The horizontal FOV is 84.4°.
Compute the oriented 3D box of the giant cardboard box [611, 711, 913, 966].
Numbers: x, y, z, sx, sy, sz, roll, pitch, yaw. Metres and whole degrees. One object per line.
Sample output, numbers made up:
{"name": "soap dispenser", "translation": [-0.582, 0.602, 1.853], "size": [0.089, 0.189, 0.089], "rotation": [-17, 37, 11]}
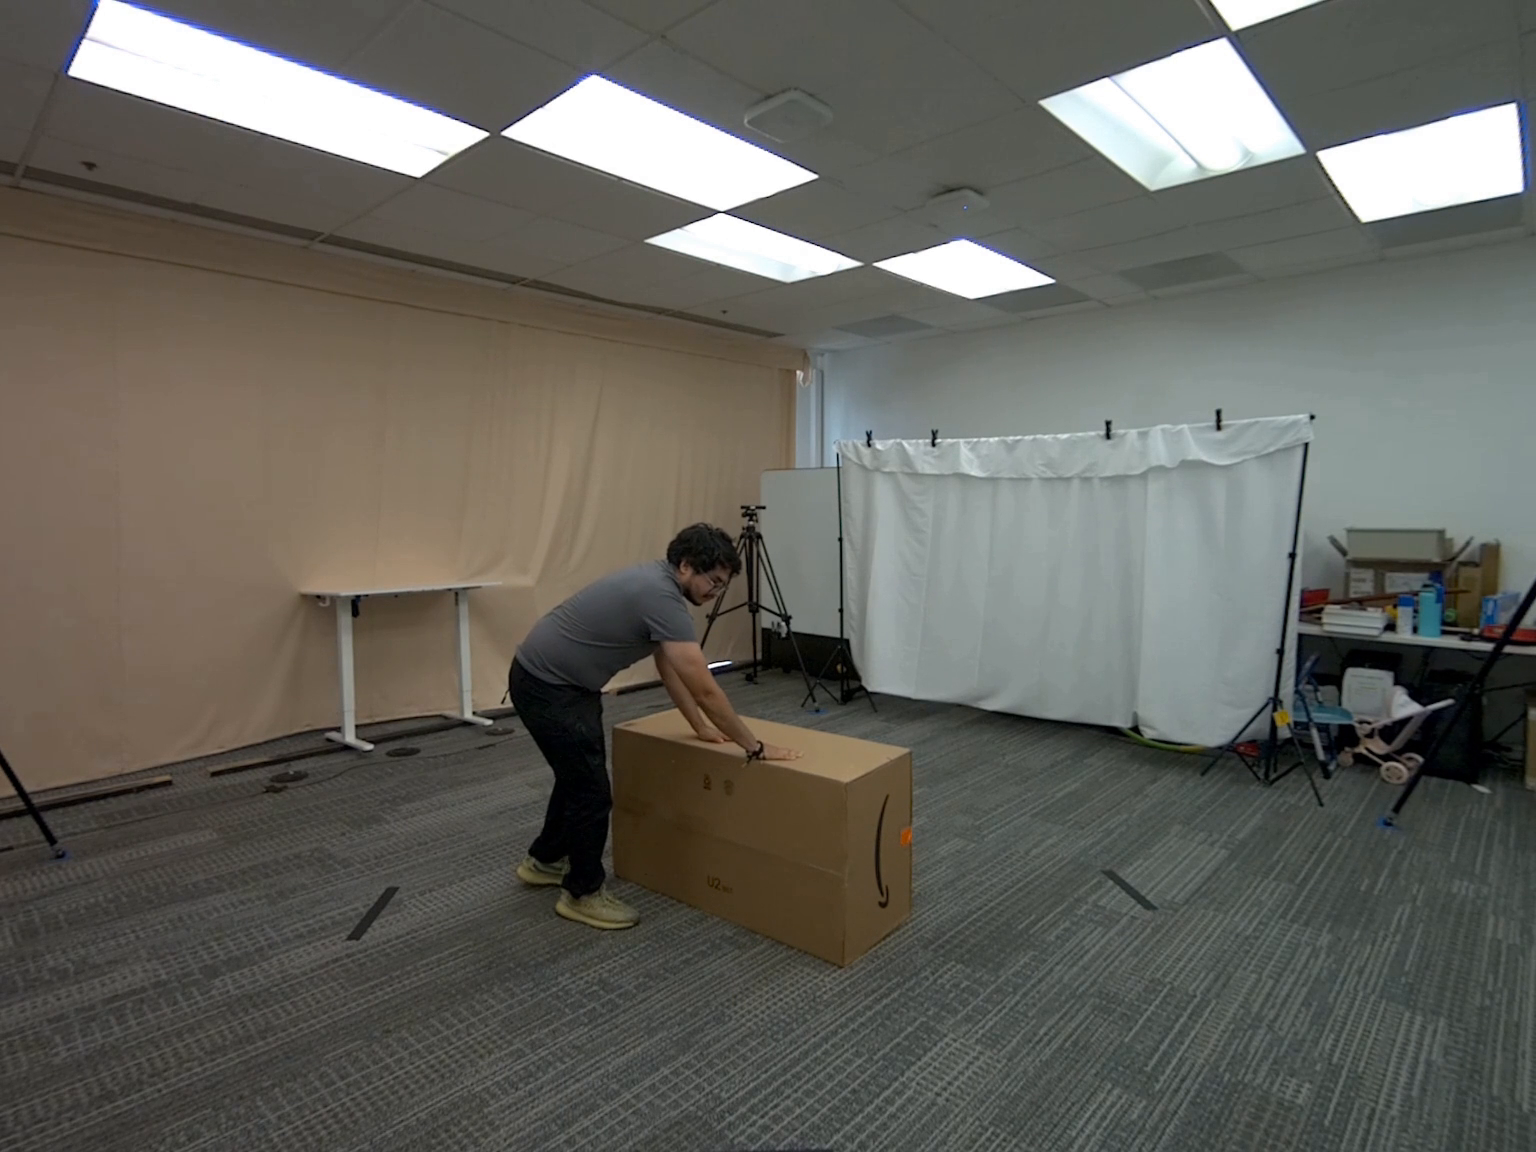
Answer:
{"name": "giant cardboard box", "translation": [-0.045, 0.854, 3.001], "size": [1.059, 0.576, 0.413], "rotation": [3, 5, 39]}
